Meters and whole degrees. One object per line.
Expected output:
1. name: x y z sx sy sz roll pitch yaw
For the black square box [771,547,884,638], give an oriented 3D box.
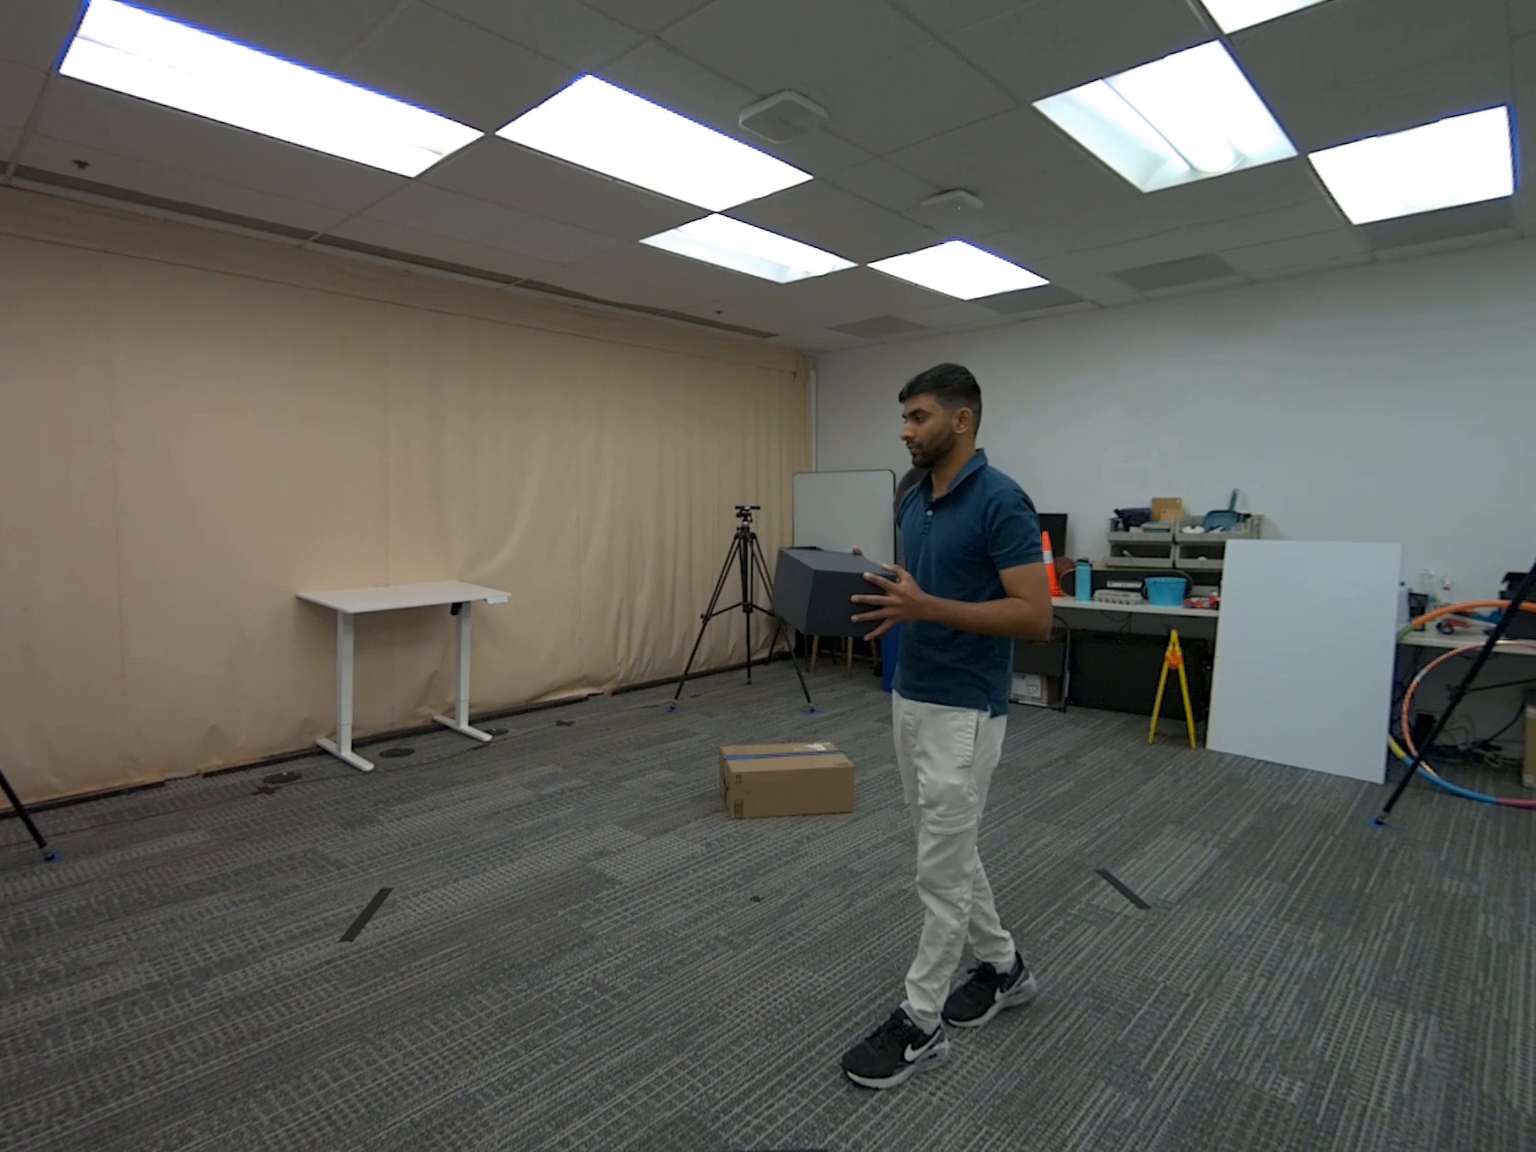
1. black square box: 0.165 0.038 2.020 0.214 0.155 0.232 4 11 -12
